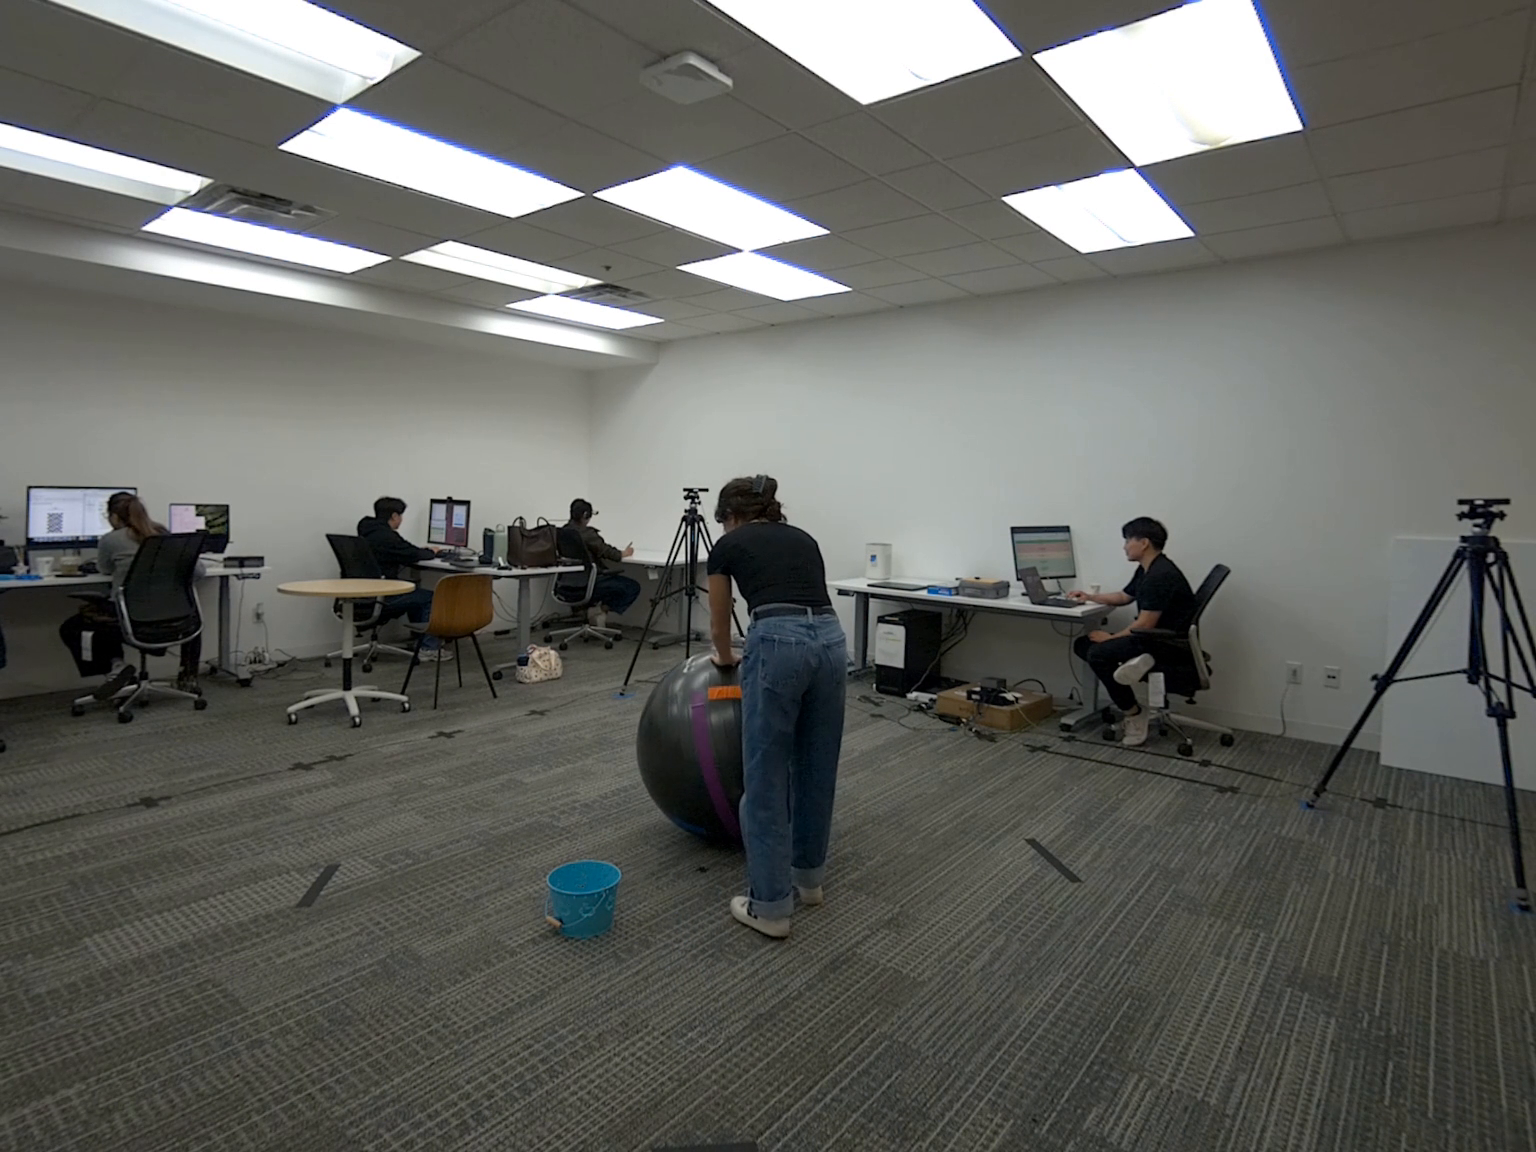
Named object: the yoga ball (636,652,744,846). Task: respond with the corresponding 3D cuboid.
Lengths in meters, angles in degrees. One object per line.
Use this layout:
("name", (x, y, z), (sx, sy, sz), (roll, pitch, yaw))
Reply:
("yoga ball", (-0.156, 0.672, 3.415), (0.757, 0.756, 0.762), (1, 4, -2))
